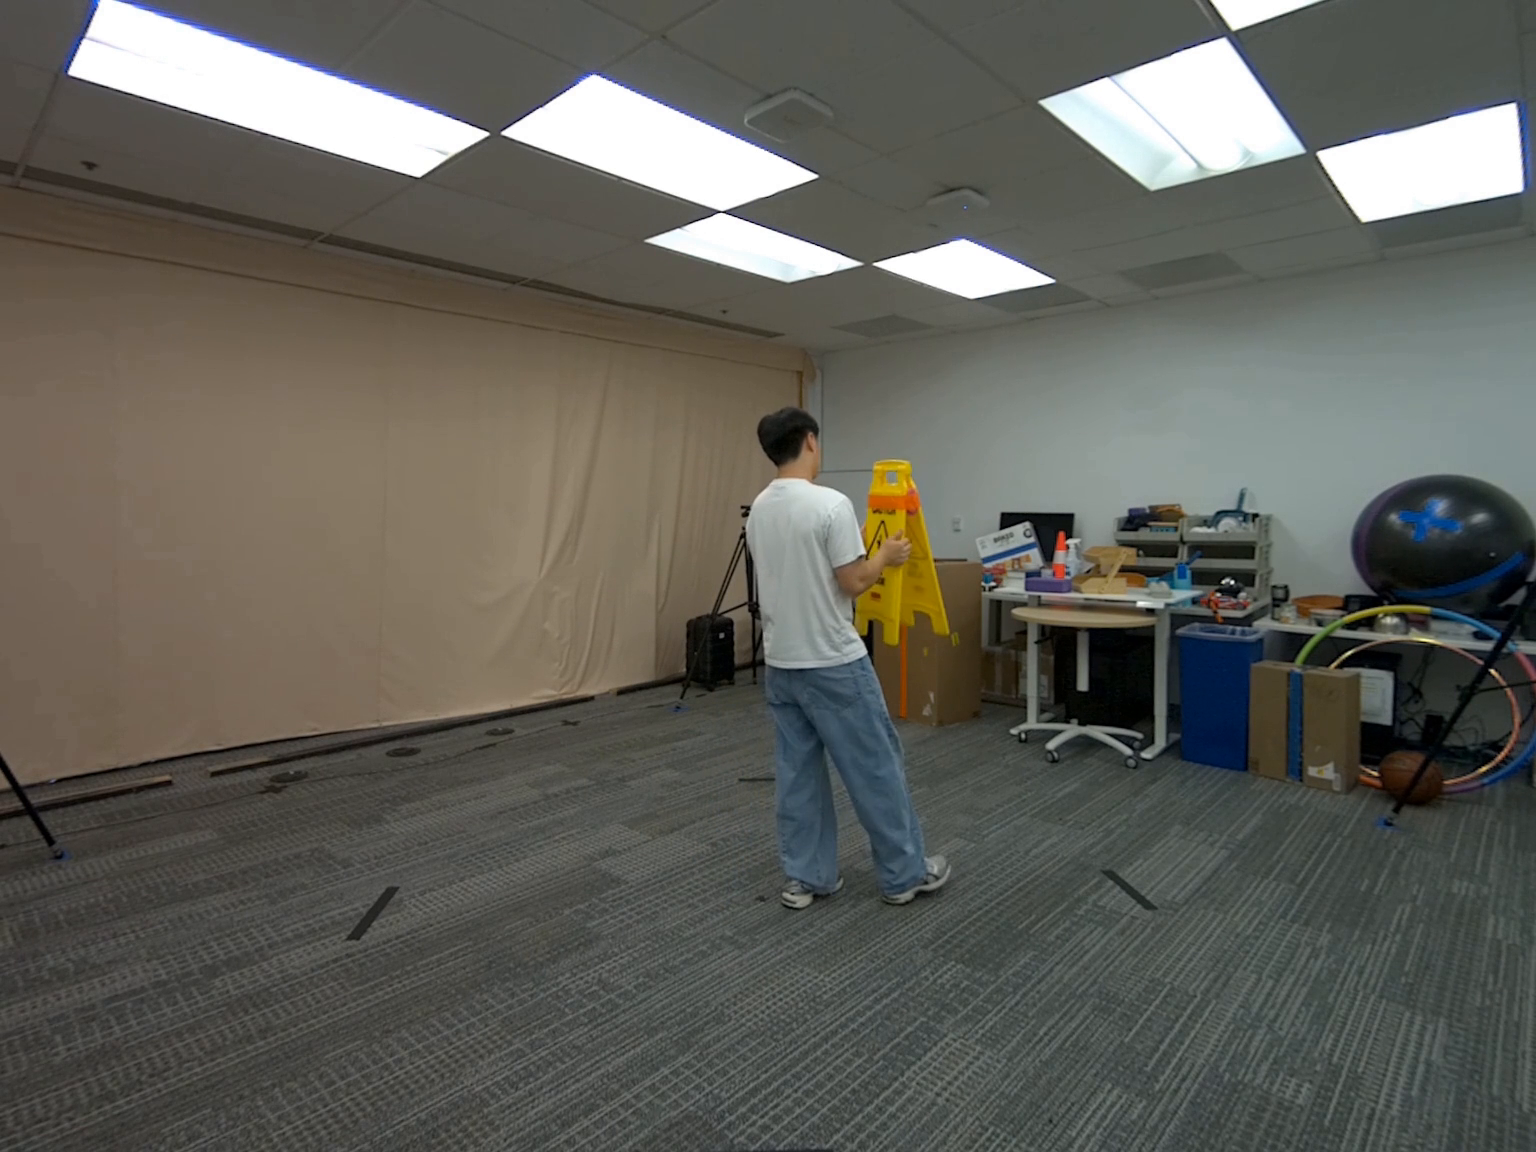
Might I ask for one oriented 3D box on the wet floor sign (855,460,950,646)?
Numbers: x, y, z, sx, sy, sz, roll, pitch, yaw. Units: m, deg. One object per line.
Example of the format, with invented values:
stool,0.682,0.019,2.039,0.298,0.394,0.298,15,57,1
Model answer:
wet floor sign,0.480,-0.103,3.128,0.284,0.642,0.290,-7,8,-23
